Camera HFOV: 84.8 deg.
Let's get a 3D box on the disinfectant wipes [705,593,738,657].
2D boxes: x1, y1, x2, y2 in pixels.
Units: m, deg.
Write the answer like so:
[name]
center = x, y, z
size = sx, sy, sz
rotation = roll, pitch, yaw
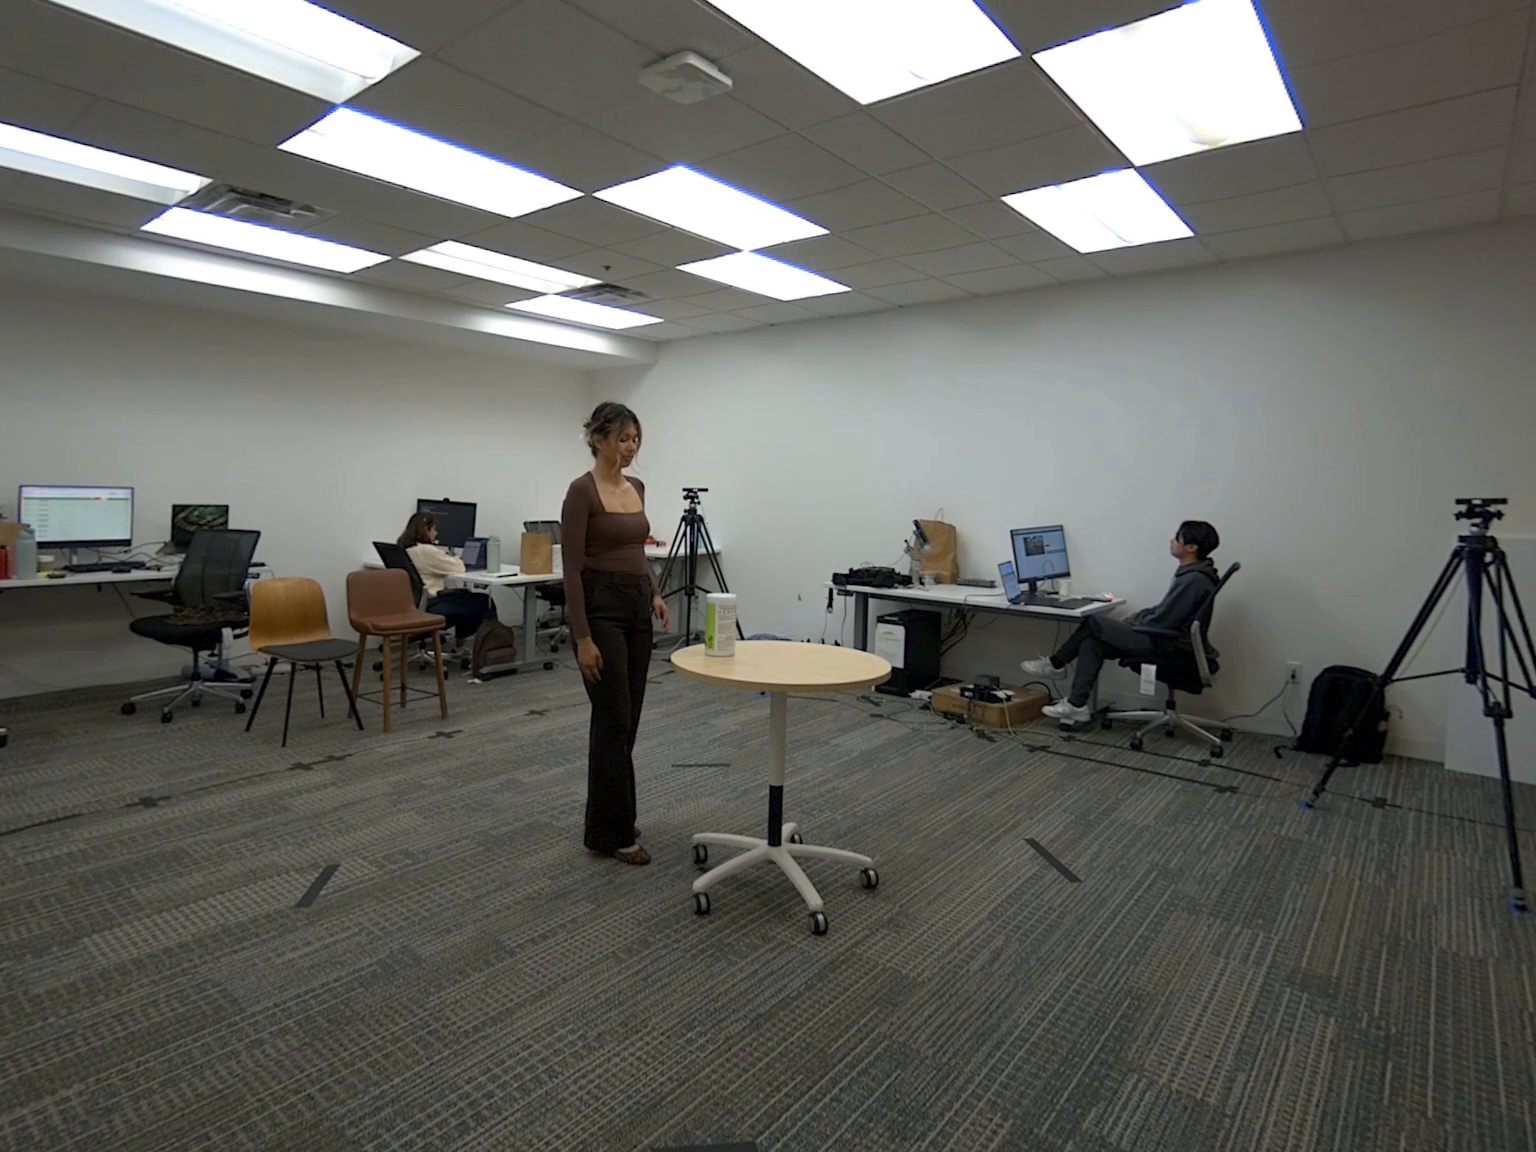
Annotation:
[disinfectant wipes]
center = -0.176, 0.170, 3.029
size = 0.118, 0.217, 0.118
rotation = 0, 3, -2
